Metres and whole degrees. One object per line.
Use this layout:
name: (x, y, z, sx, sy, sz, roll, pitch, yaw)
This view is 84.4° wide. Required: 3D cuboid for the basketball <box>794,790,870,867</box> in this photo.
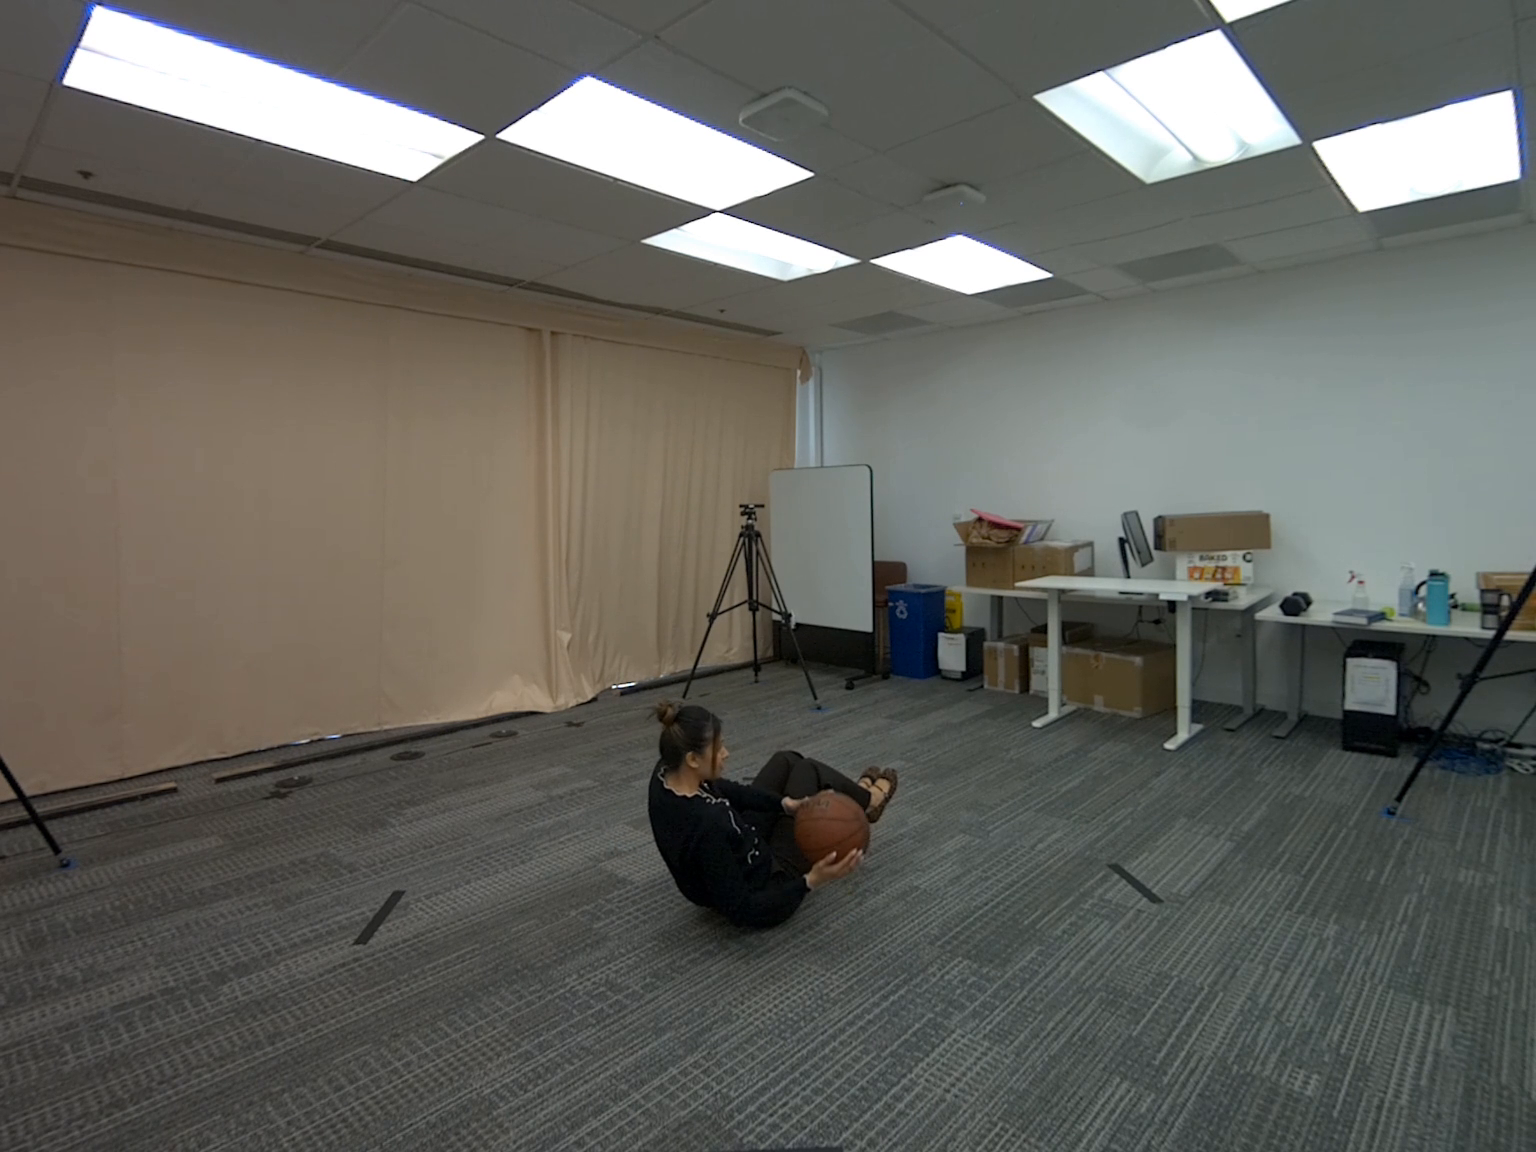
basketball: (0.189, 0.801, 2.609, 0.236, 0.235, 0.237, -1, 4, -2)
